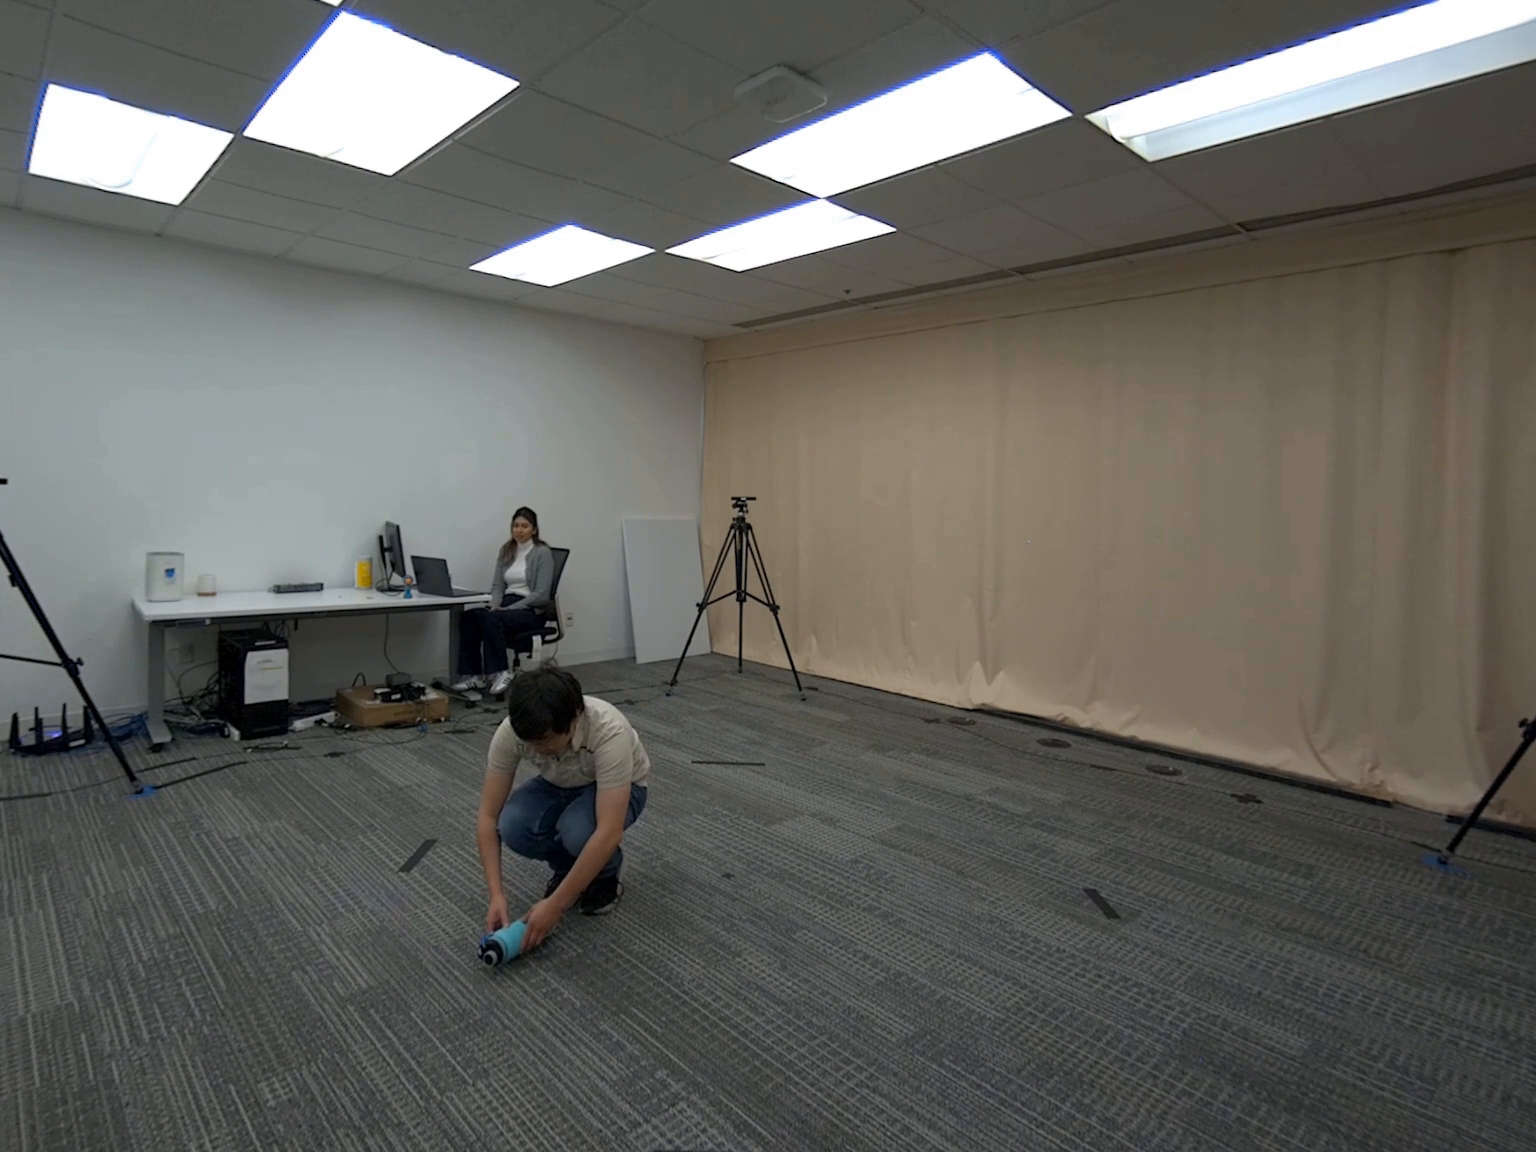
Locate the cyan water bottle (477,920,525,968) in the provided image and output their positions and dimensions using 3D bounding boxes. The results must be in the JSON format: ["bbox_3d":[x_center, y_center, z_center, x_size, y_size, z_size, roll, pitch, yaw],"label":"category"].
[{"bbox_3d":[-0.769,1.093,2.526,0.094,0.092,0.278,3,1,25],"label":"cyan water bottle"}]
